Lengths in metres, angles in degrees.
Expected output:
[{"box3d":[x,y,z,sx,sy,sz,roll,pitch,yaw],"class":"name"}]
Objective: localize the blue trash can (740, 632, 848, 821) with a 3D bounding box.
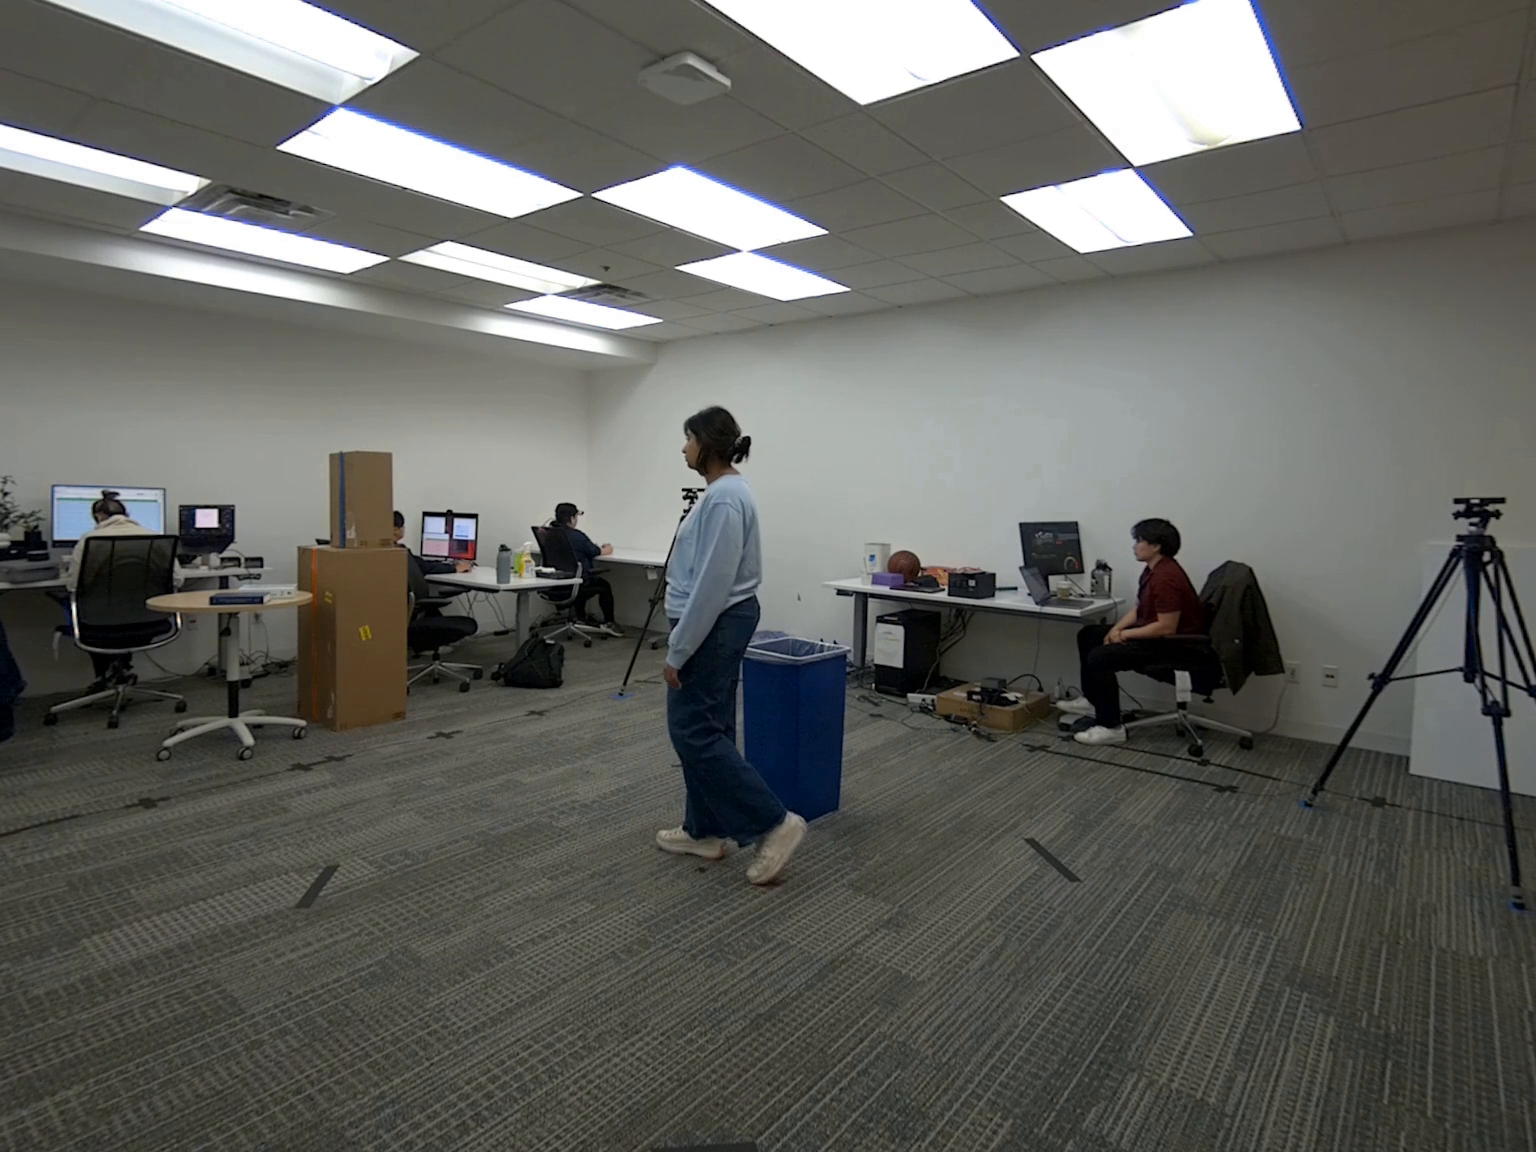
[{"box3d":[0.096,0.659,3.727,0.387,0.711,0.367,4,5,43],"class":"blue trash can"}]
